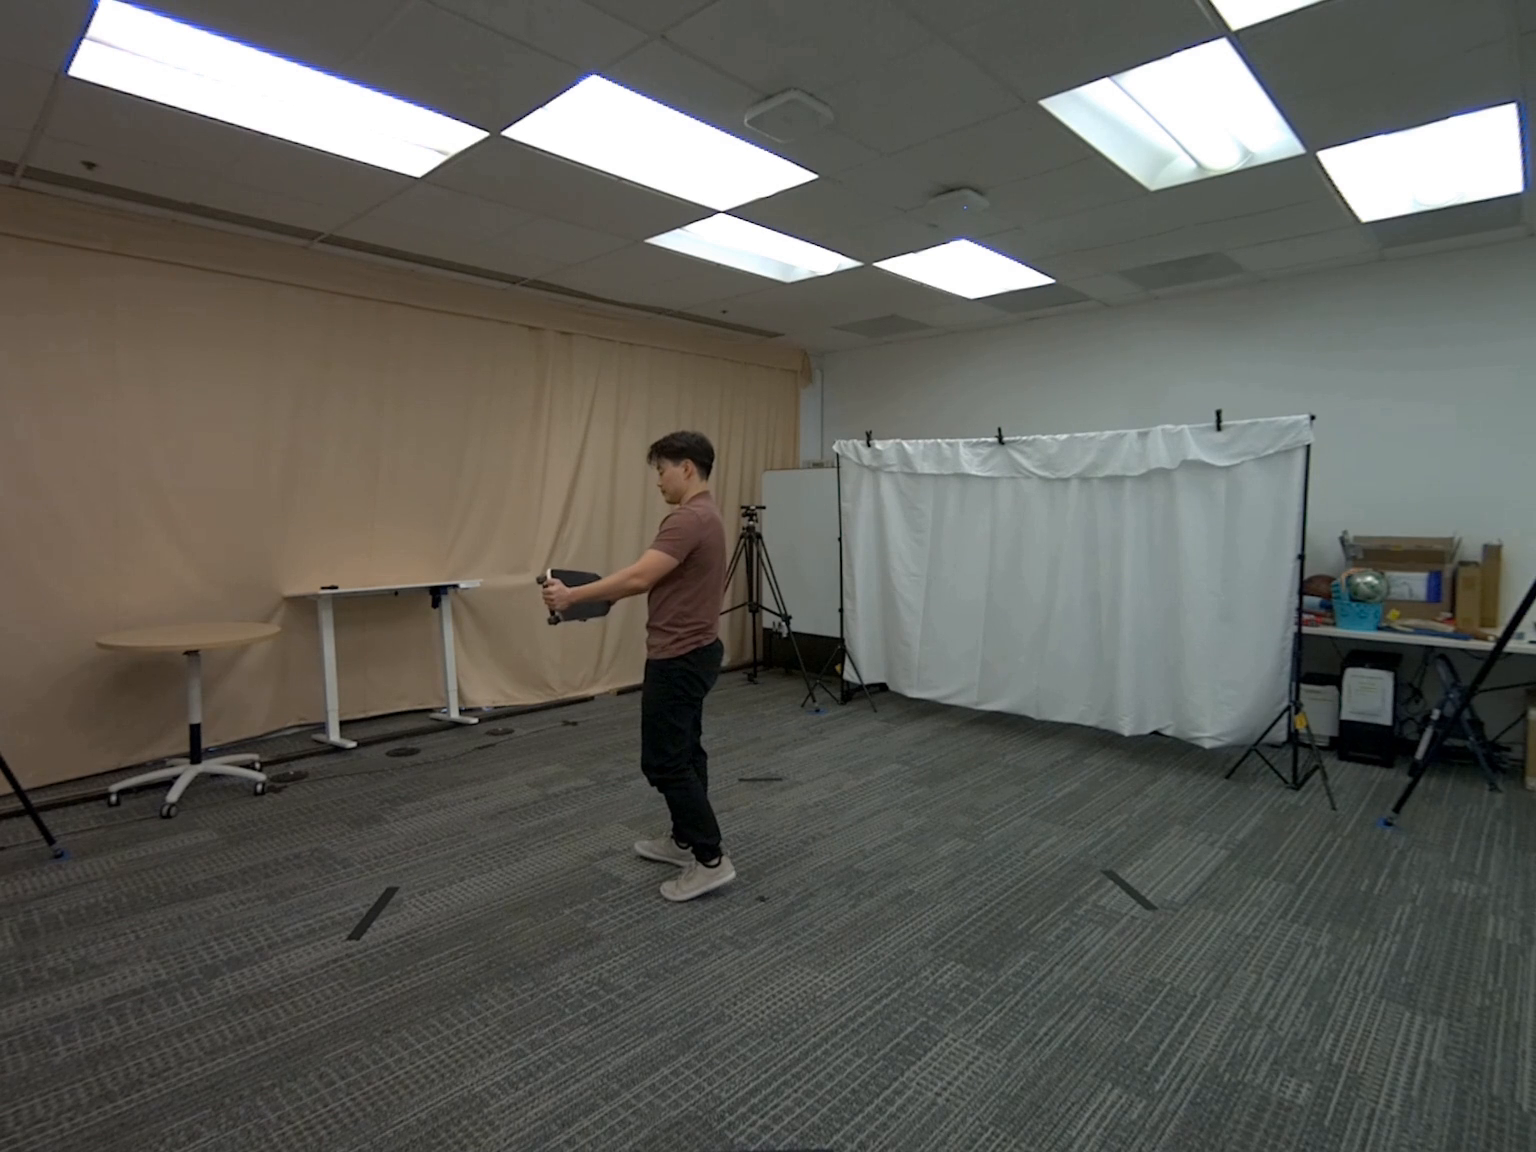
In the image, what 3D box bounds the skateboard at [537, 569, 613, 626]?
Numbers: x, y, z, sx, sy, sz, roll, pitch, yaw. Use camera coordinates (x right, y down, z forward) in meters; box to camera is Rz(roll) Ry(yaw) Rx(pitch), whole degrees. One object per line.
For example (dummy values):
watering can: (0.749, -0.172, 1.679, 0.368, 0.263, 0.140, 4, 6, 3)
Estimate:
skateboard: (-0.743, 0.090, 3.236, 0.111, 0.194, 0.779, -19, -2, 3)
